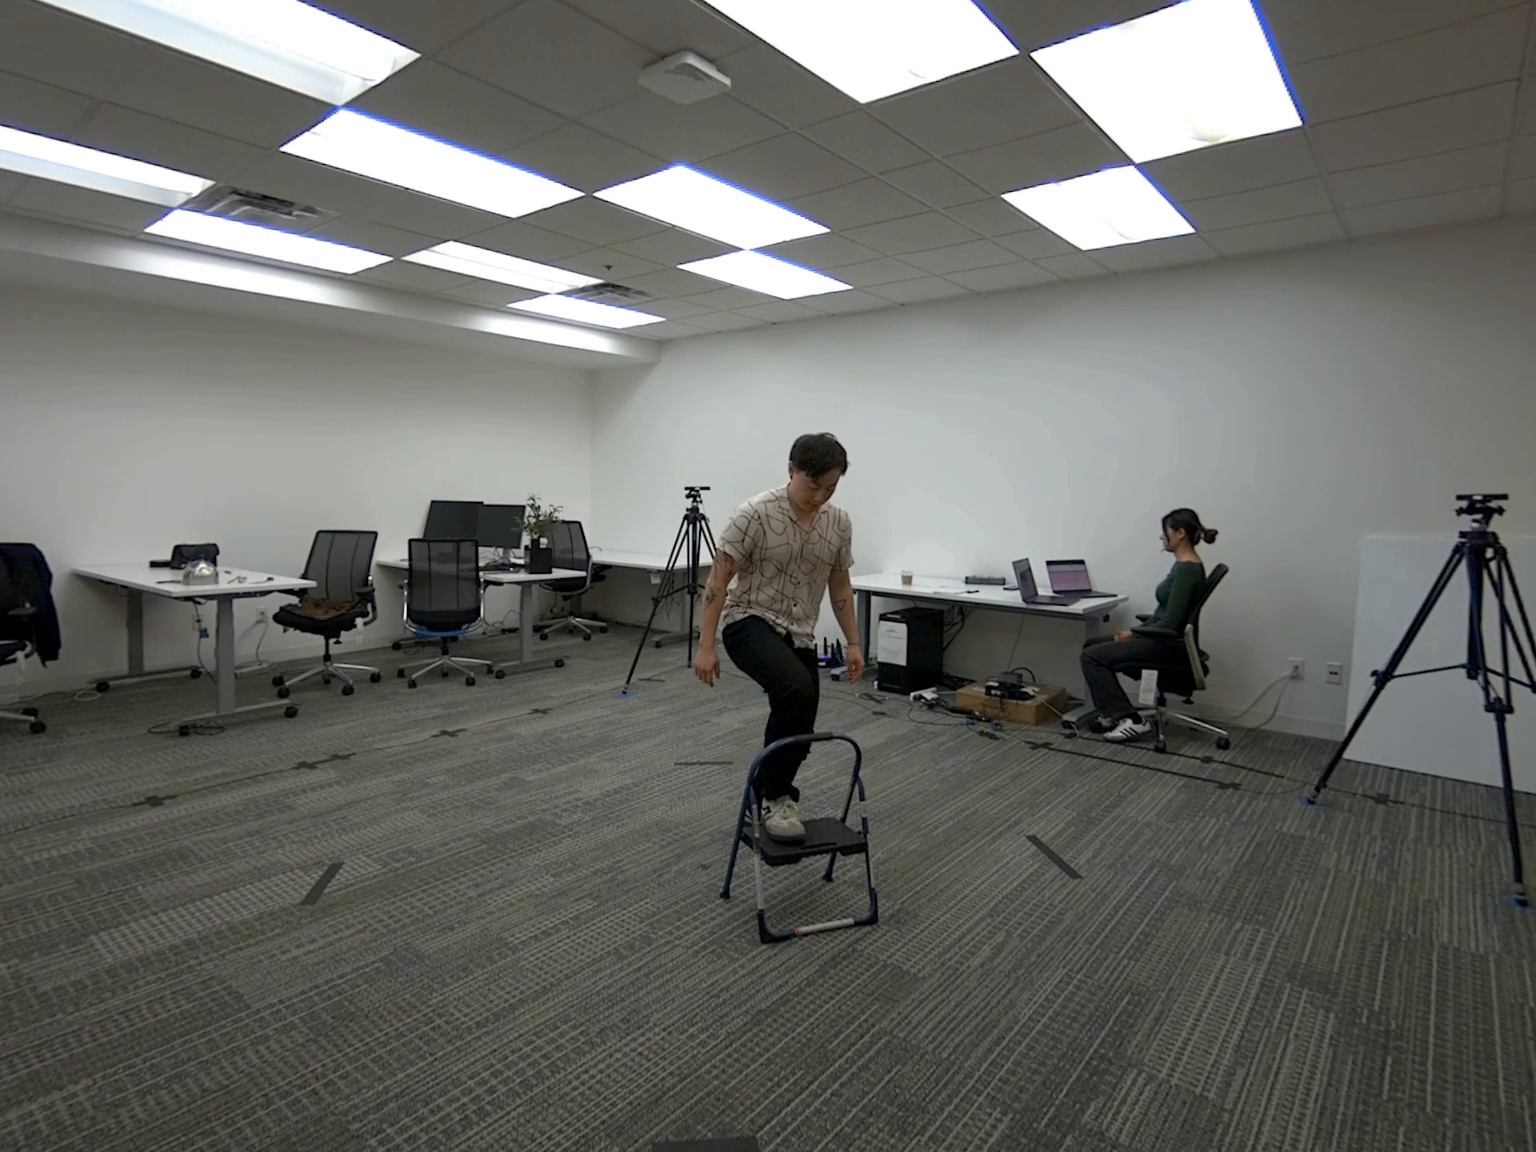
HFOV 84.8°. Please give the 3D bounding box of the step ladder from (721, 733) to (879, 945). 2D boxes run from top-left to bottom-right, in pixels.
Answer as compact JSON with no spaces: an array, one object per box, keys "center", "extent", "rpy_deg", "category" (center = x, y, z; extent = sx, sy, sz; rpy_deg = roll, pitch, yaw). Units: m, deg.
[{"center":[0.099,0.798,2.806],"extent":[0.421,0.604,0.359],"rpy_deg":[-1,4,-24],"category":"step ladder"}]
